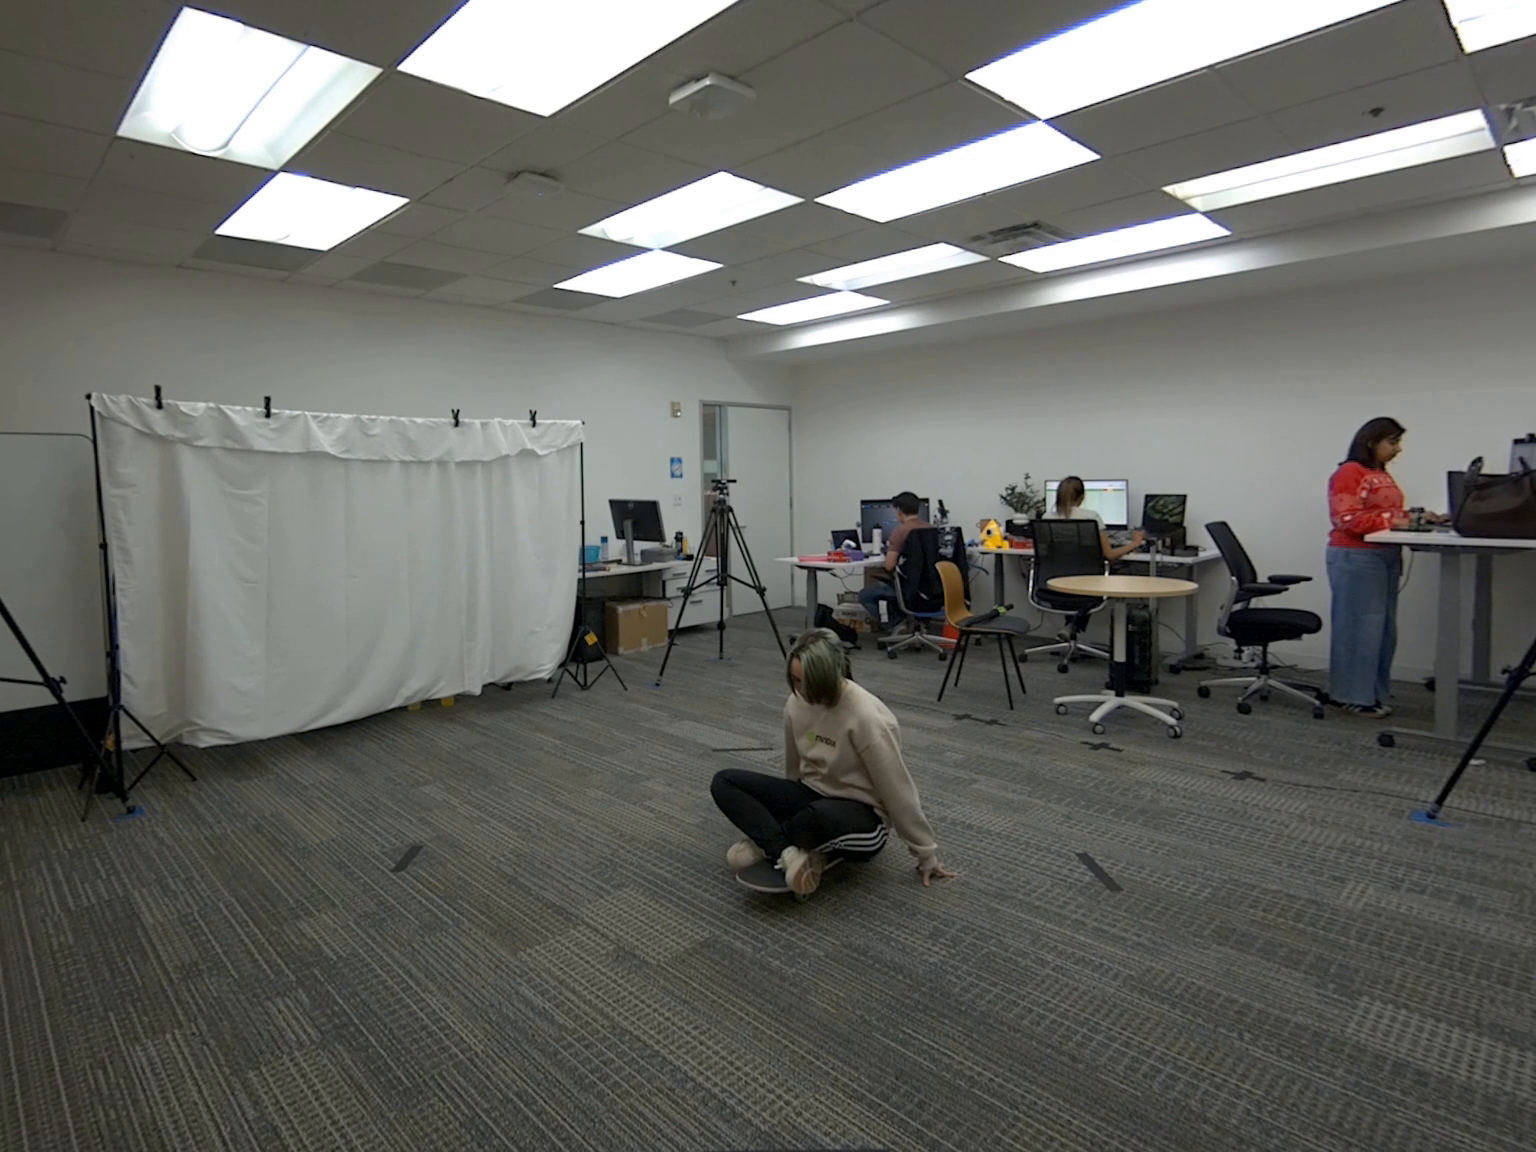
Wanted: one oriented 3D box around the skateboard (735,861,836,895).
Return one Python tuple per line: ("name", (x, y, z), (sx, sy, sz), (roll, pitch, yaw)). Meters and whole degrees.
("skateboard", (0.179, 1.003, 3.030), (0.199, 0.109, 0.766), (7, 11, 39))
